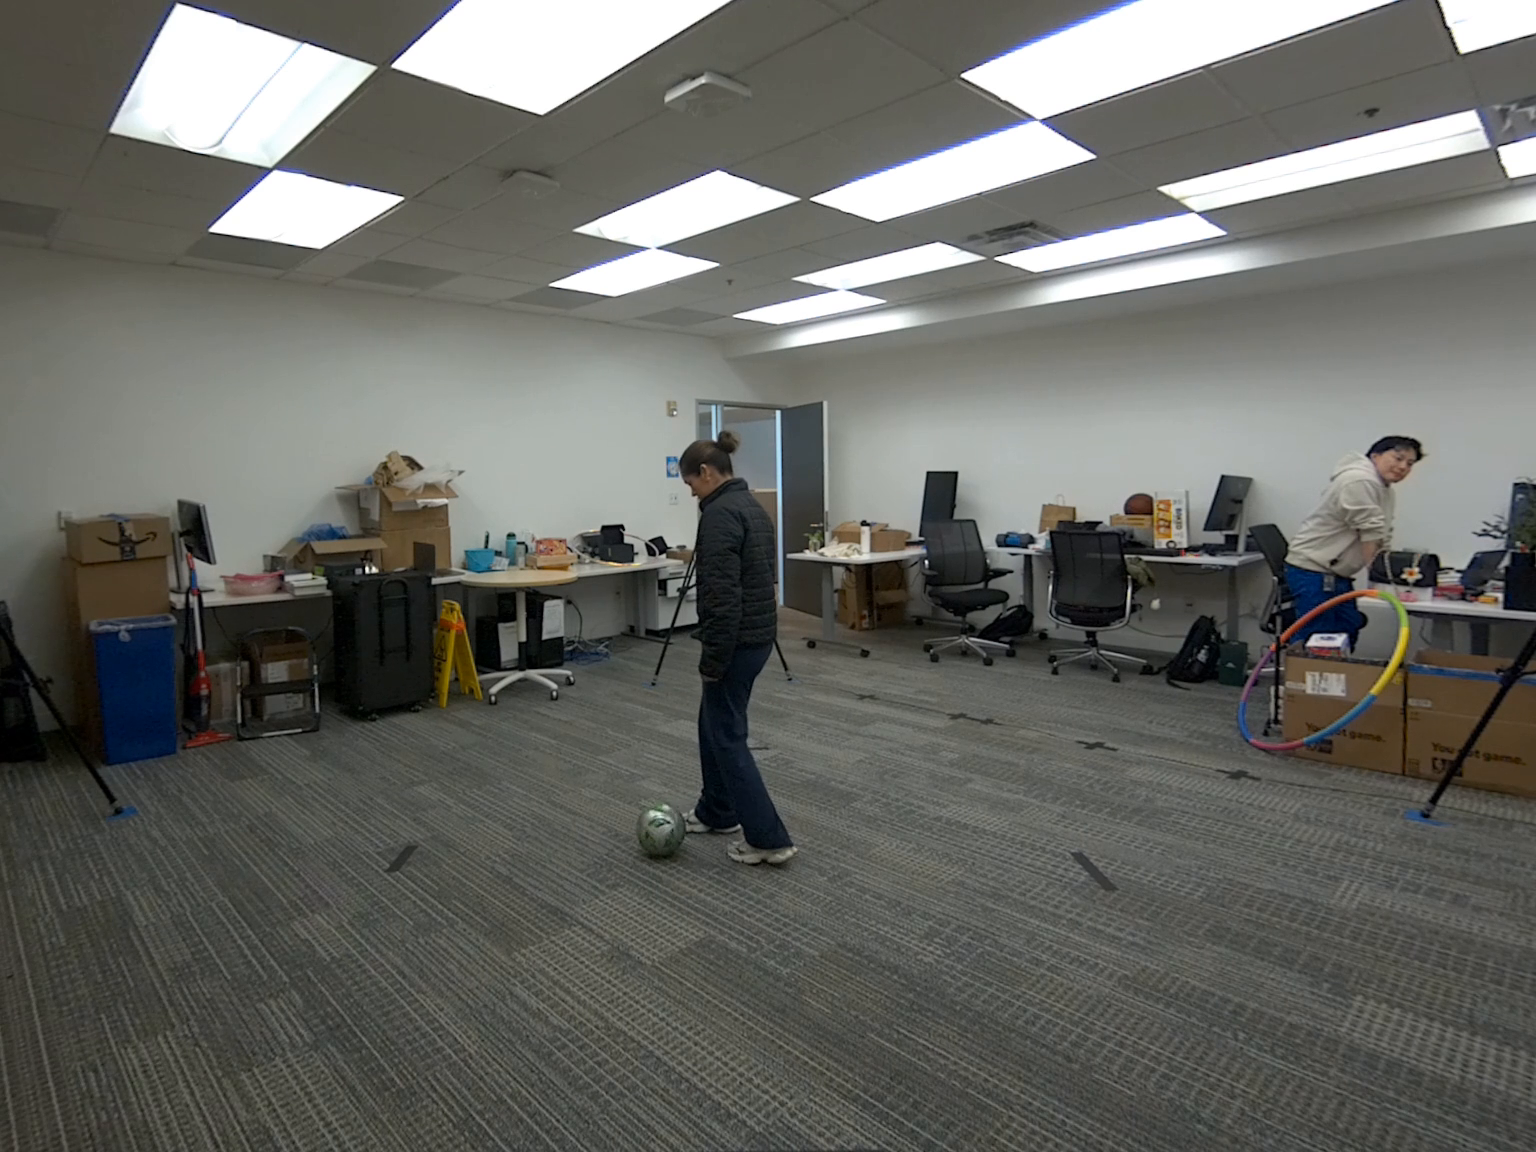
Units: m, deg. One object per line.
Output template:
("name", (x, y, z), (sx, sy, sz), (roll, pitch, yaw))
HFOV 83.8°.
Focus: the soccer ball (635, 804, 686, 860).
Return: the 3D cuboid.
("soccer ball", (-0.394, 0.948, 3.193), (0.187, 0.187, 0.188), (-1, 5, -2))
